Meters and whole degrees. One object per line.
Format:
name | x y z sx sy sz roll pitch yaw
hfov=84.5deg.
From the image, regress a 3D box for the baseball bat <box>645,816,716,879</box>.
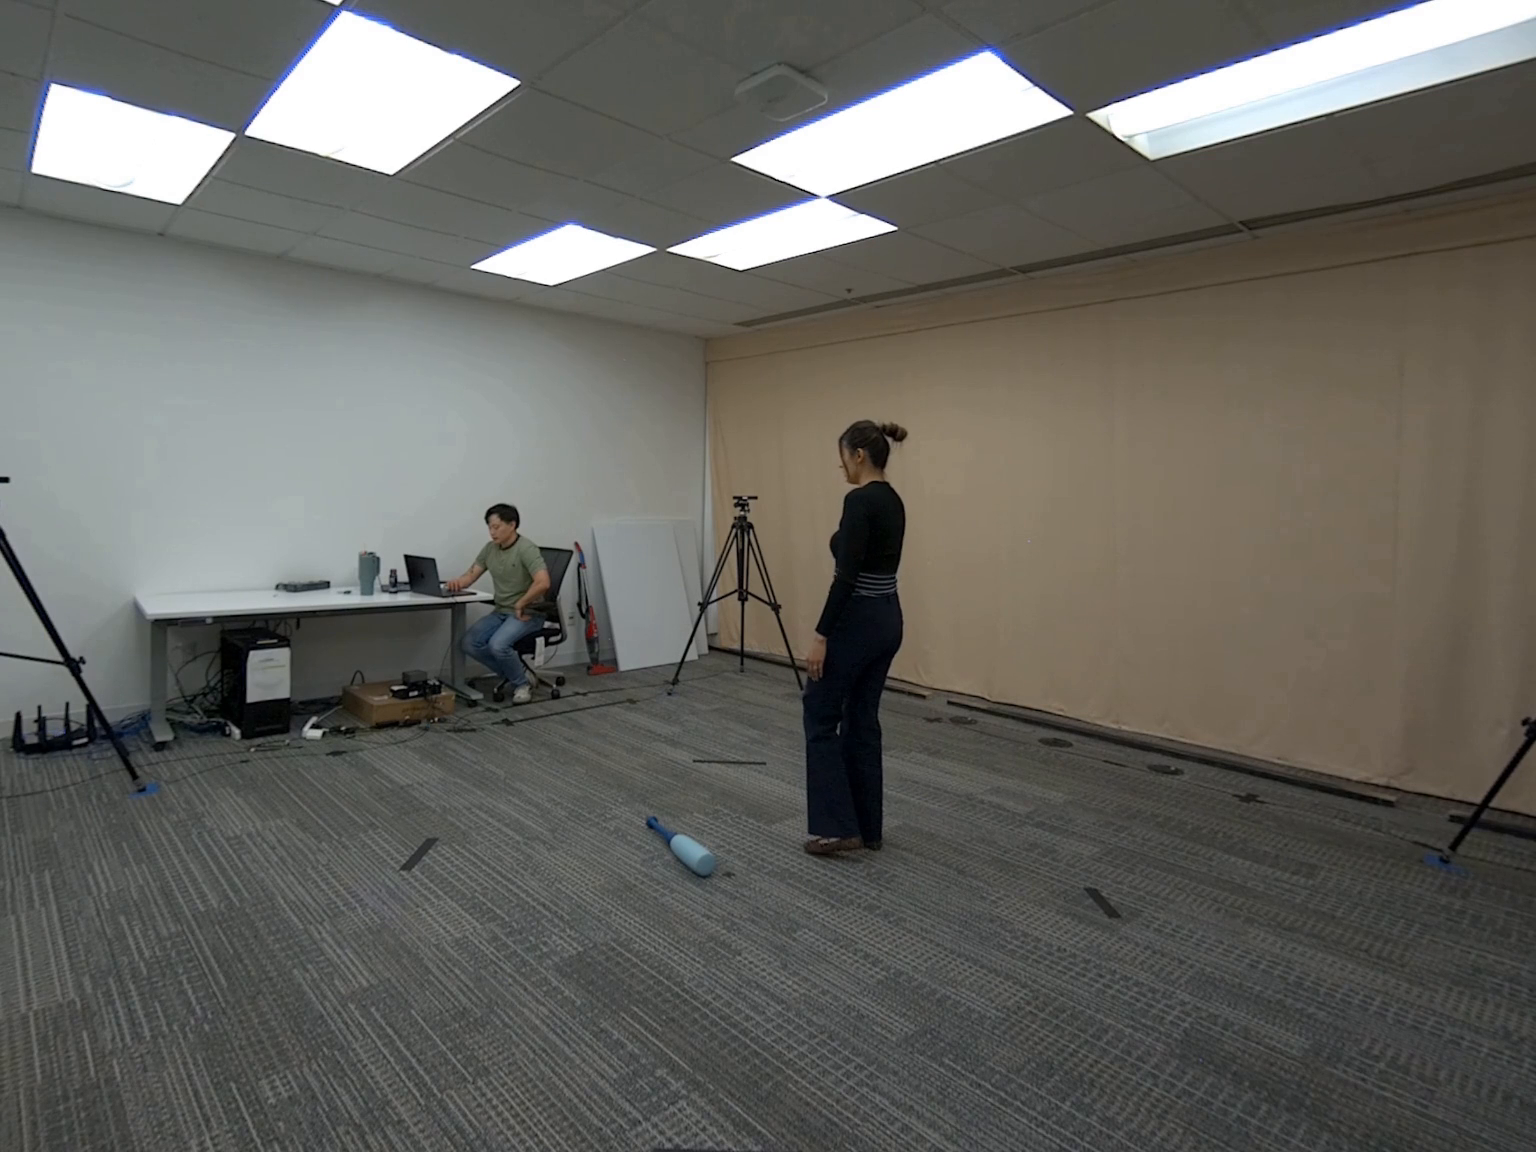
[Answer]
baseball bat | -0.366 1.046 3.294 0.087 0.089 0.554 -1 2 -29
